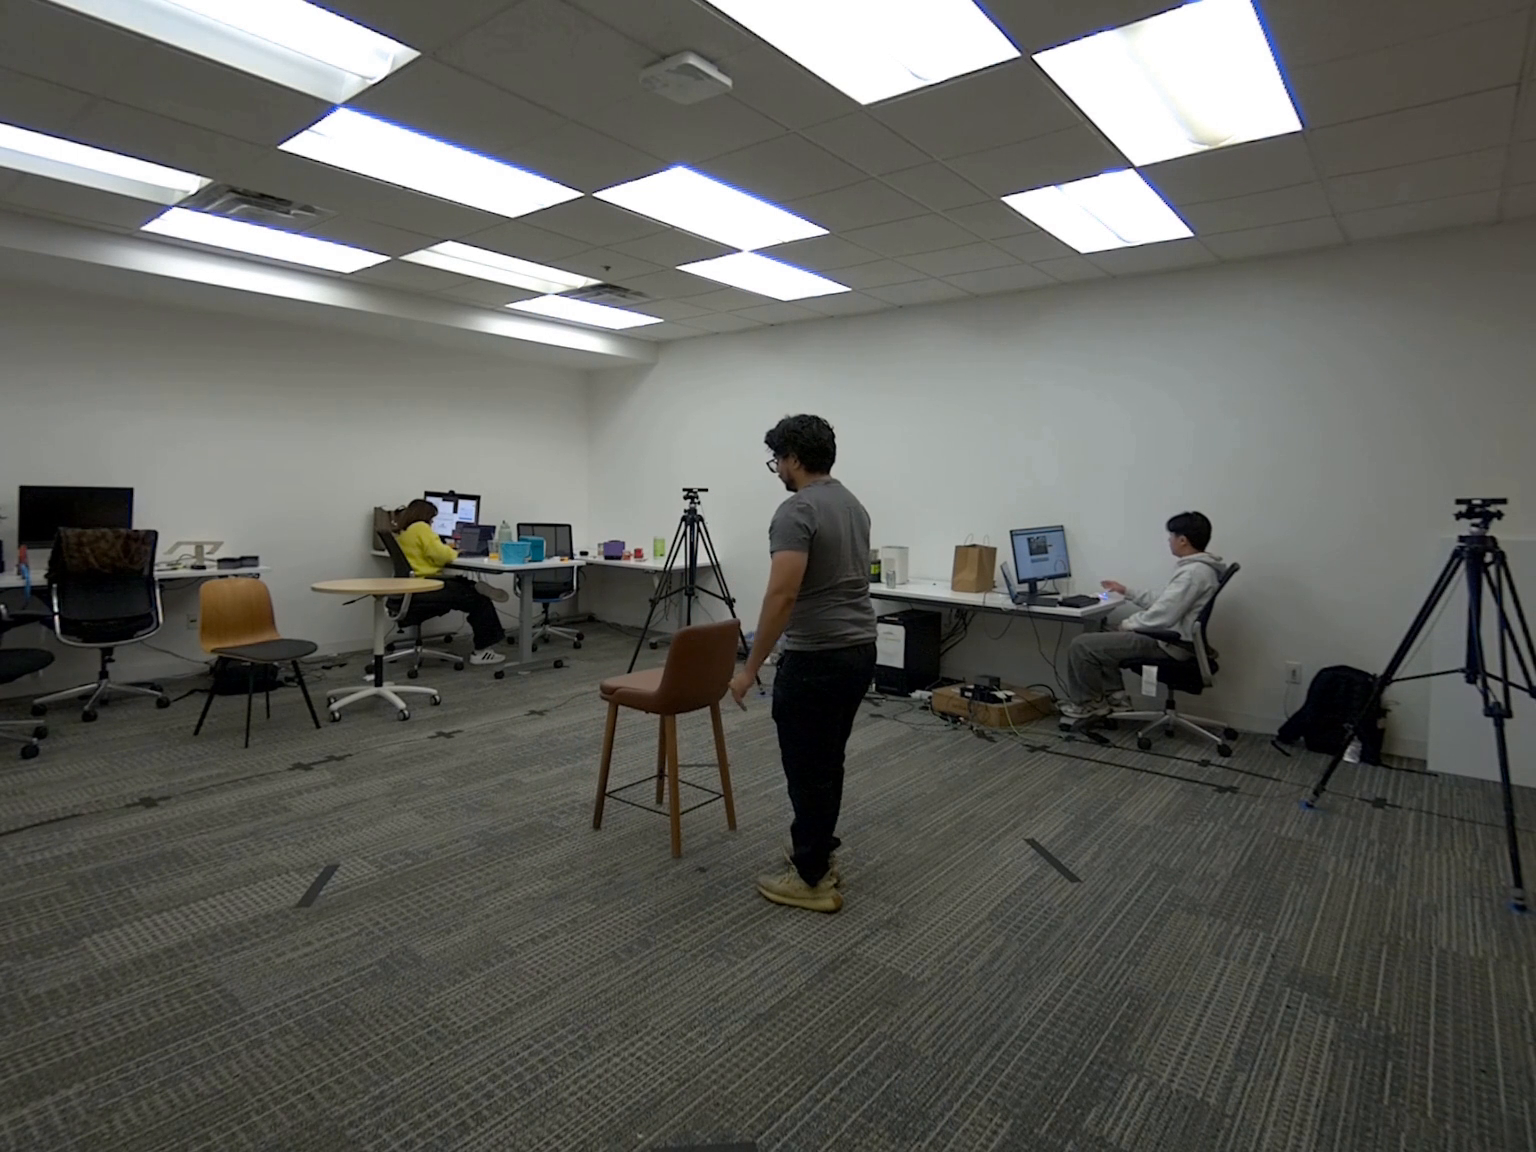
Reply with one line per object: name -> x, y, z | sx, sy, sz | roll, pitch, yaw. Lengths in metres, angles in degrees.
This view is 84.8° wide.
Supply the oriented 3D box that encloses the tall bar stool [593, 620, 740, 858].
tall bar stool -> -0.417, 0.598, 3.458 | 0.483, 0.887, 0.443 | 6, 5, 37
